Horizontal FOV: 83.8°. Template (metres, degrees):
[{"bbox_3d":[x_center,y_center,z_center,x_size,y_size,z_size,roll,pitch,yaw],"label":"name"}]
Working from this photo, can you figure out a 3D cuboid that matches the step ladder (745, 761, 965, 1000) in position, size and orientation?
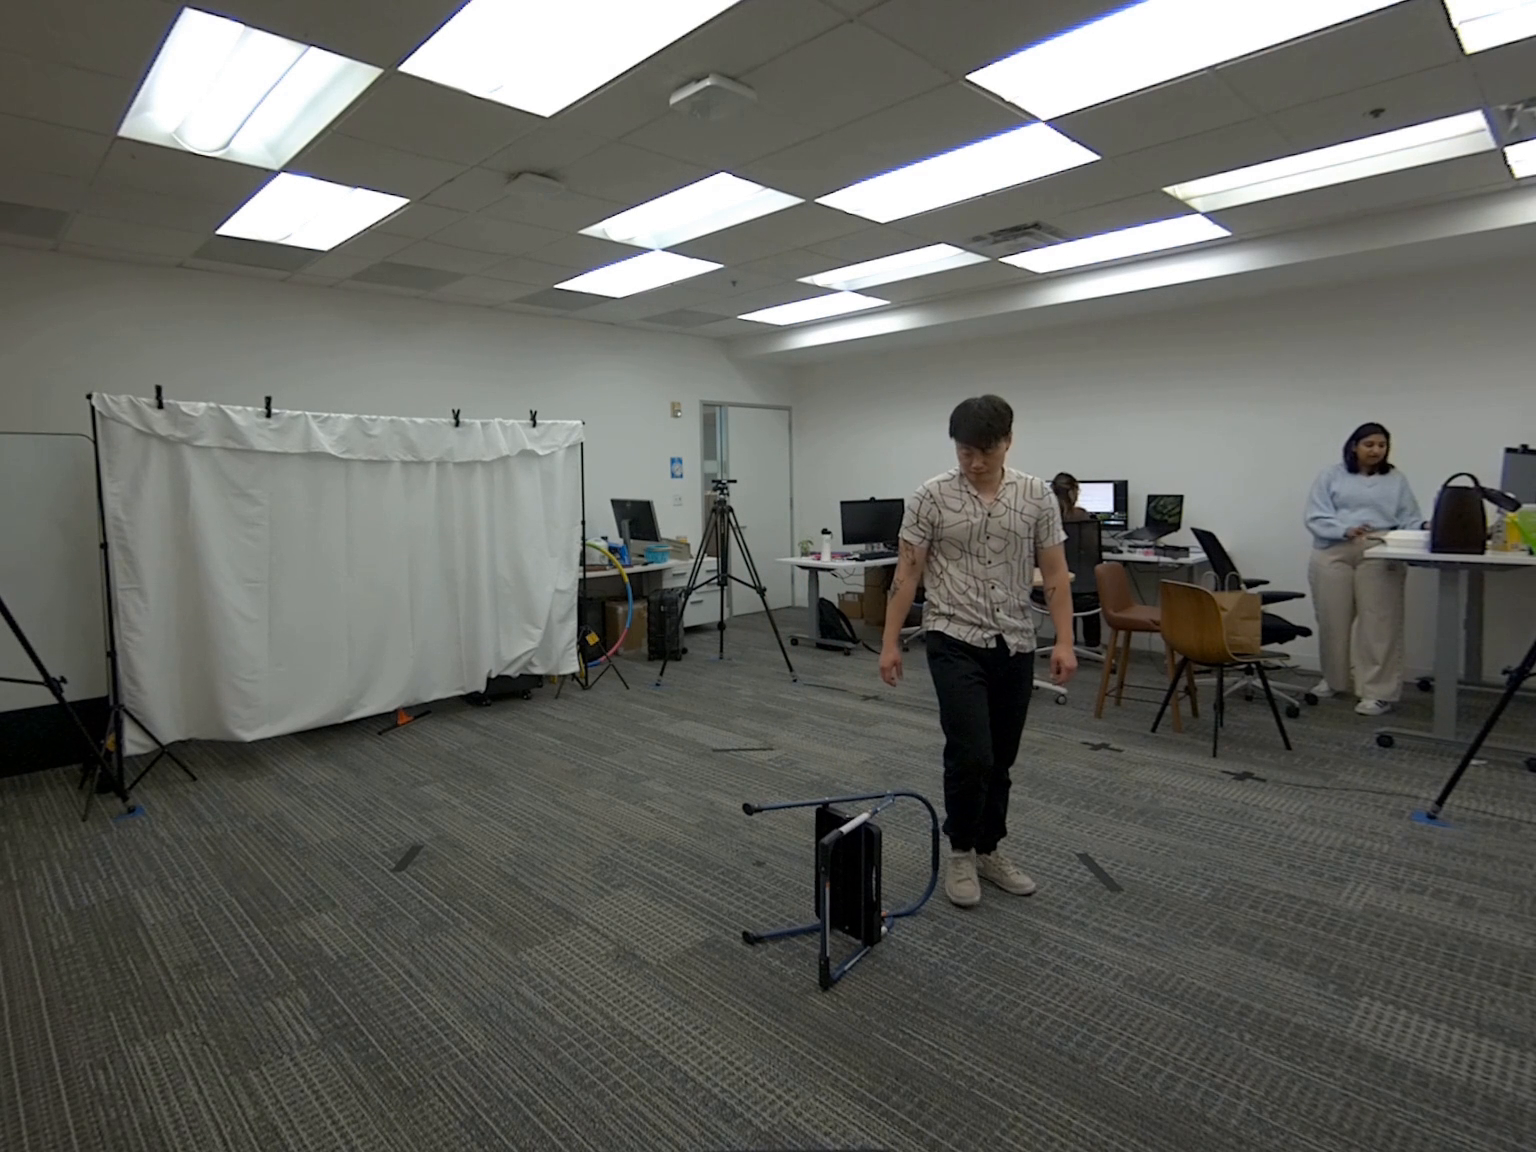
[{"bbox_3d":[0.273,0.888,2.625,0.590,0.428,0.360,-5,8,-39],"label":"step ladder"}]
